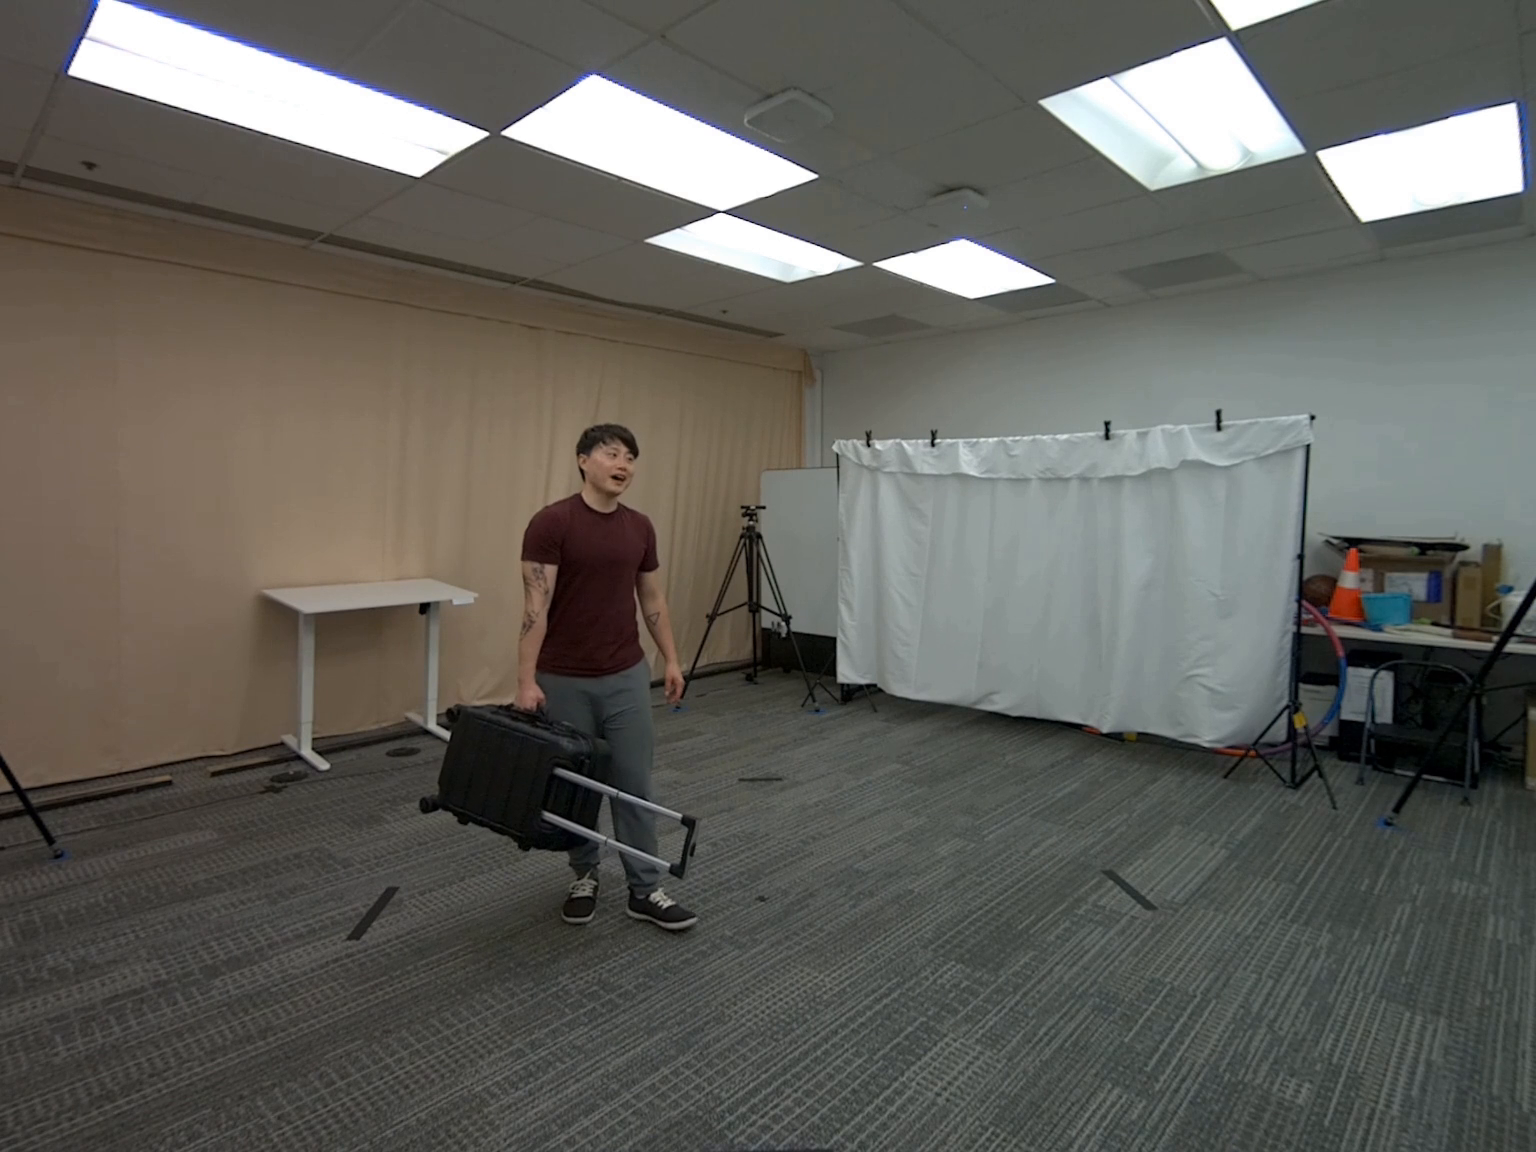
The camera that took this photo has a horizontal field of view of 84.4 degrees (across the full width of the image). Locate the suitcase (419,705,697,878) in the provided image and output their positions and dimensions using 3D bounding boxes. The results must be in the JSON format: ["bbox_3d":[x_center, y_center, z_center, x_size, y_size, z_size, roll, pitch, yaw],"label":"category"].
[{"bbox_3d":[-0.597,0.656,2.561,1.007,0.385,0.249,9,-7,28],"label":"suitcase"}]
